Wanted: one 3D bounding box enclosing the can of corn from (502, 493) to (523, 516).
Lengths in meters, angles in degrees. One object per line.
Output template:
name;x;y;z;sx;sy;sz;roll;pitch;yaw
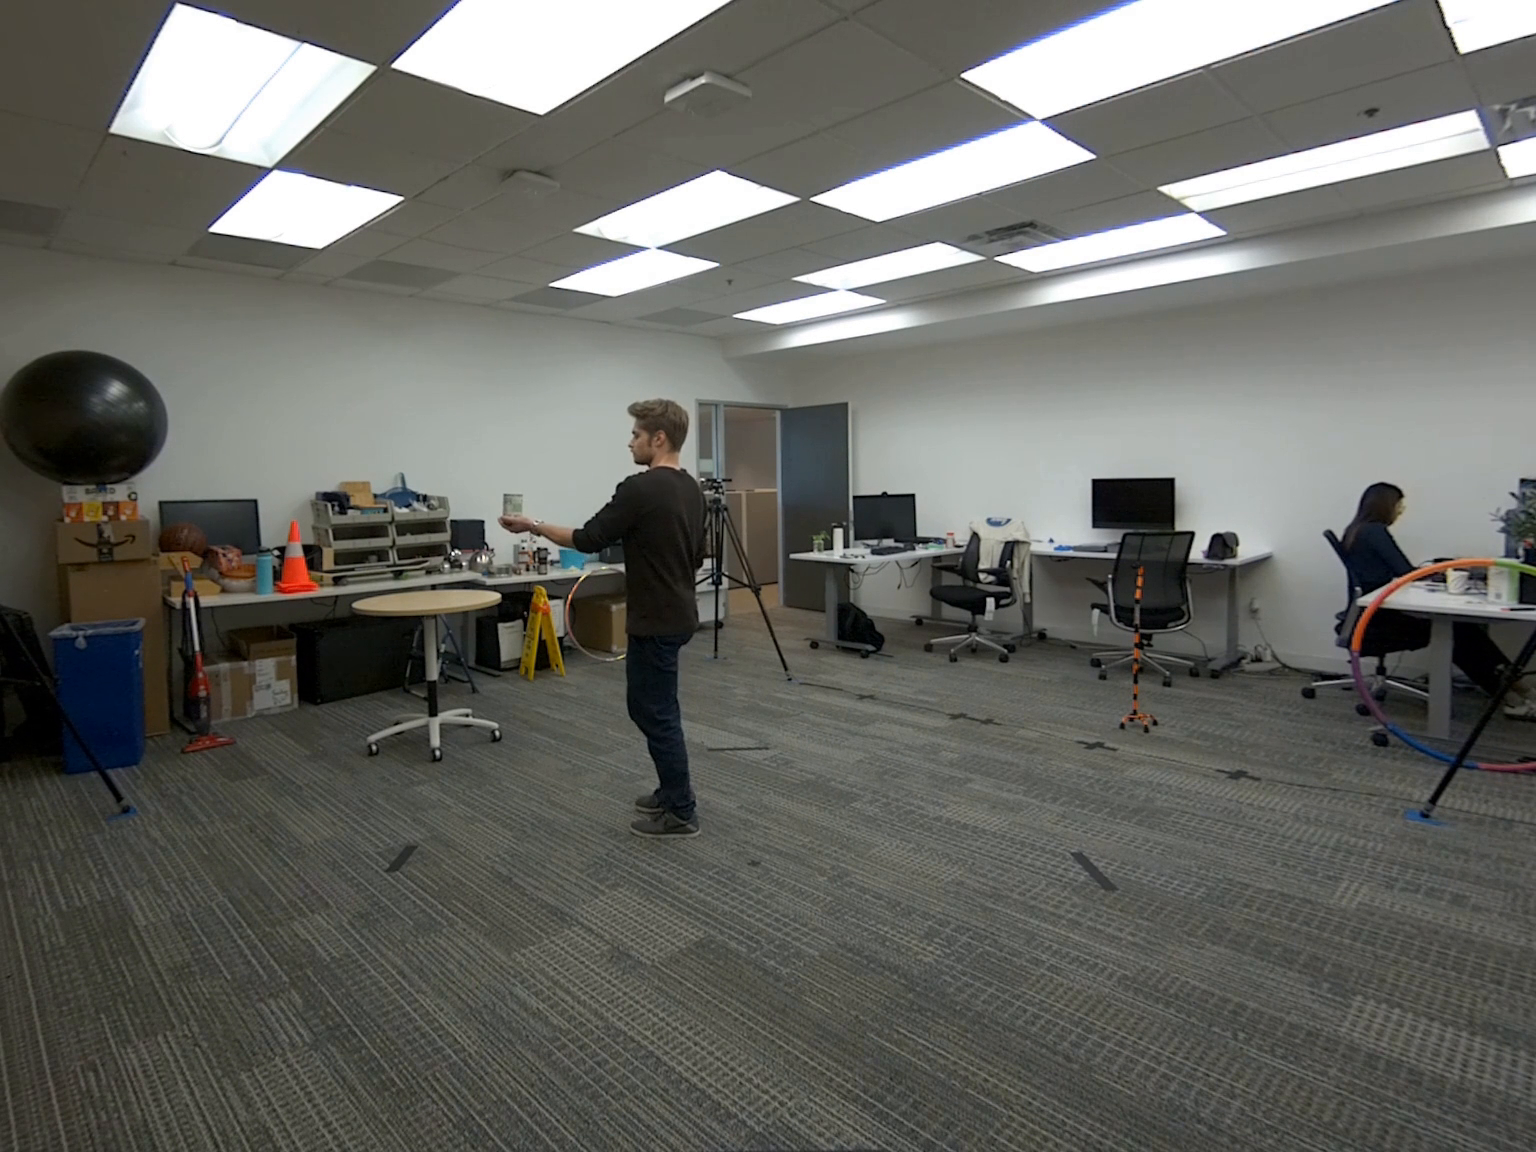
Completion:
can of corn;-1.001;-0.267;3.360;0.074;0.110;0.075;2;6;-2
